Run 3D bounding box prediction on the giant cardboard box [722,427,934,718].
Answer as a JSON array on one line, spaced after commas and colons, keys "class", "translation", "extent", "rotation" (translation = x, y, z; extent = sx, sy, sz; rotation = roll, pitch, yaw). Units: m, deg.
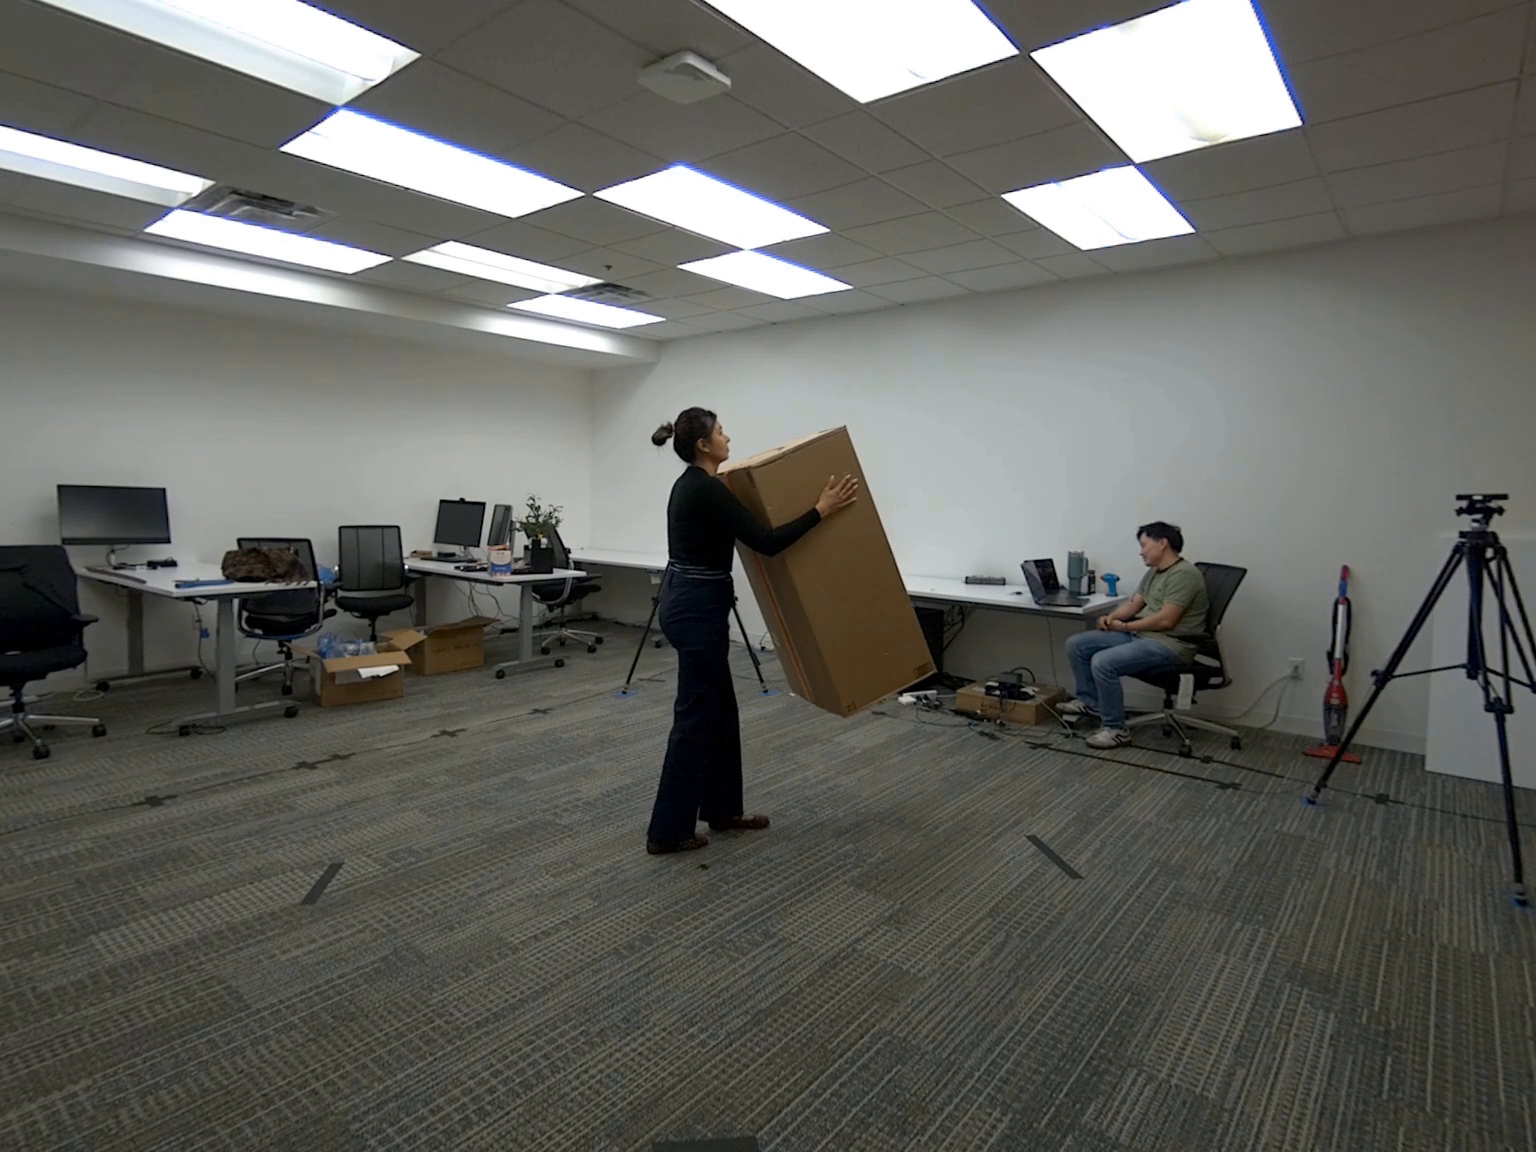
[{"class": "giant cardboard box", "translation": [0.187, -0.030, 3.465], "extent": [0.422, 1.016, 0.588], "rotation": [-23, 8, -16]}]
